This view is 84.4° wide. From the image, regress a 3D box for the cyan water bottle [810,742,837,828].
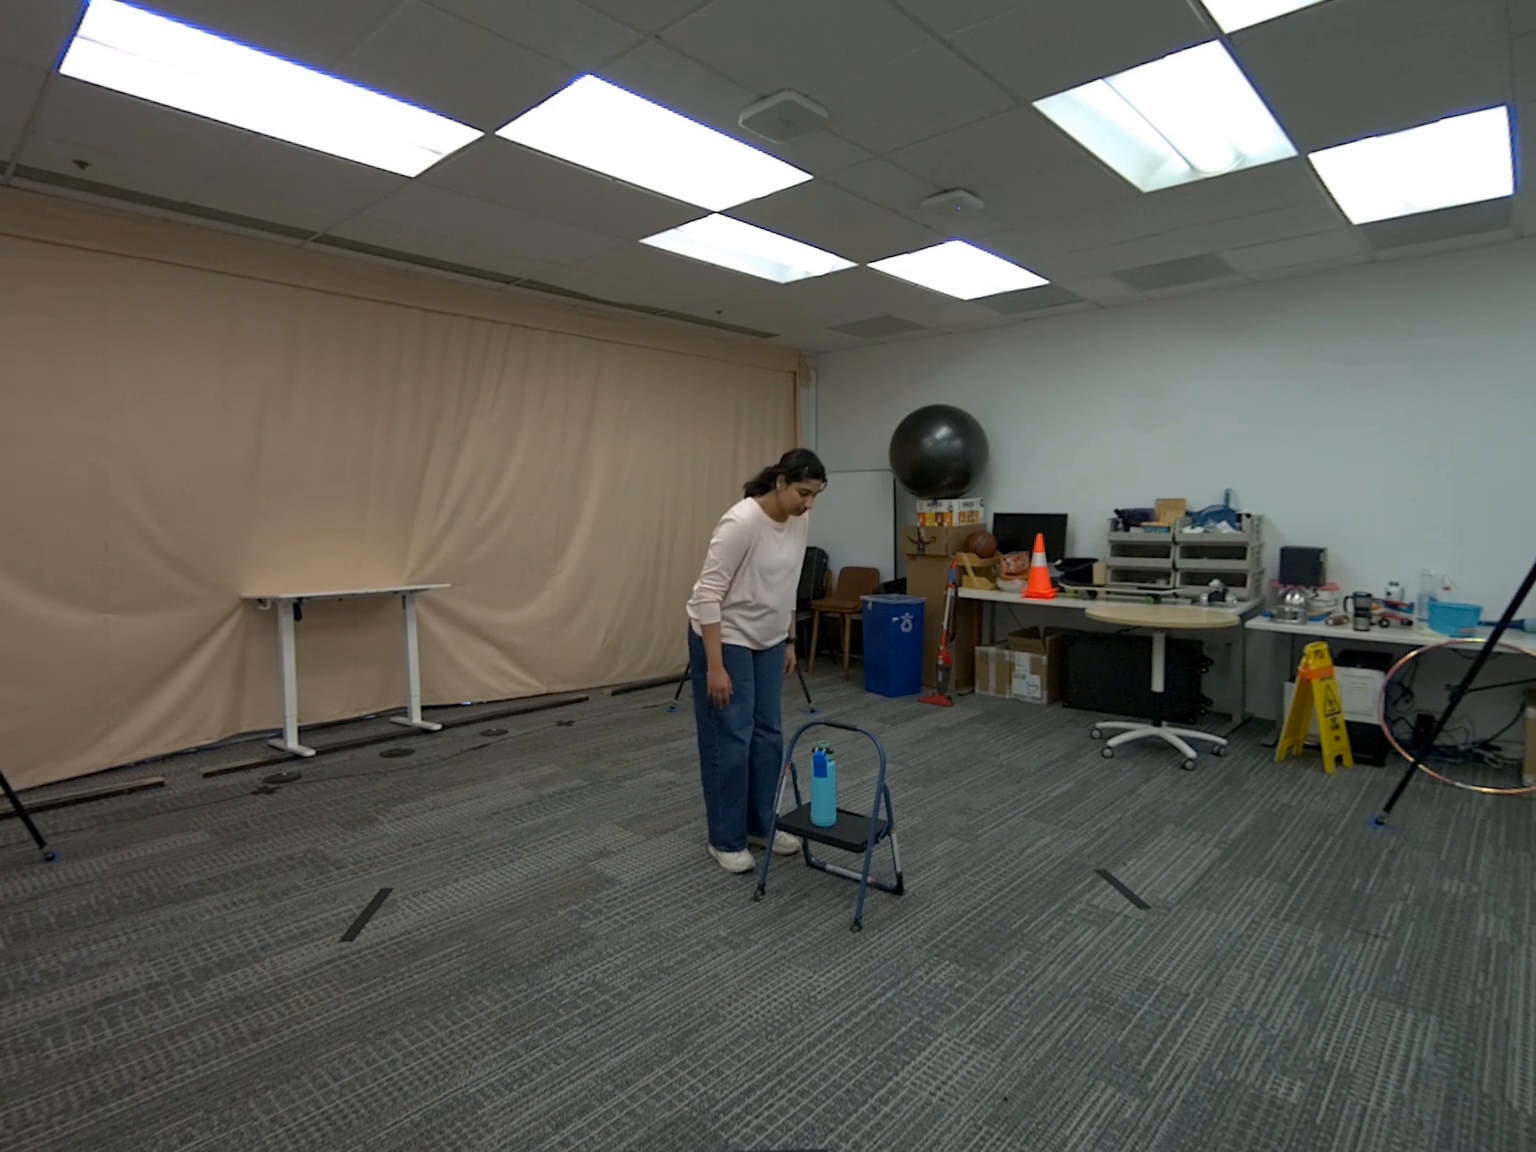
[{"bbox_3d":[0.199,0.744,3.001,0.092,0.282,0.093,-2,6,-2],"label":"cyan water bottle"}]
